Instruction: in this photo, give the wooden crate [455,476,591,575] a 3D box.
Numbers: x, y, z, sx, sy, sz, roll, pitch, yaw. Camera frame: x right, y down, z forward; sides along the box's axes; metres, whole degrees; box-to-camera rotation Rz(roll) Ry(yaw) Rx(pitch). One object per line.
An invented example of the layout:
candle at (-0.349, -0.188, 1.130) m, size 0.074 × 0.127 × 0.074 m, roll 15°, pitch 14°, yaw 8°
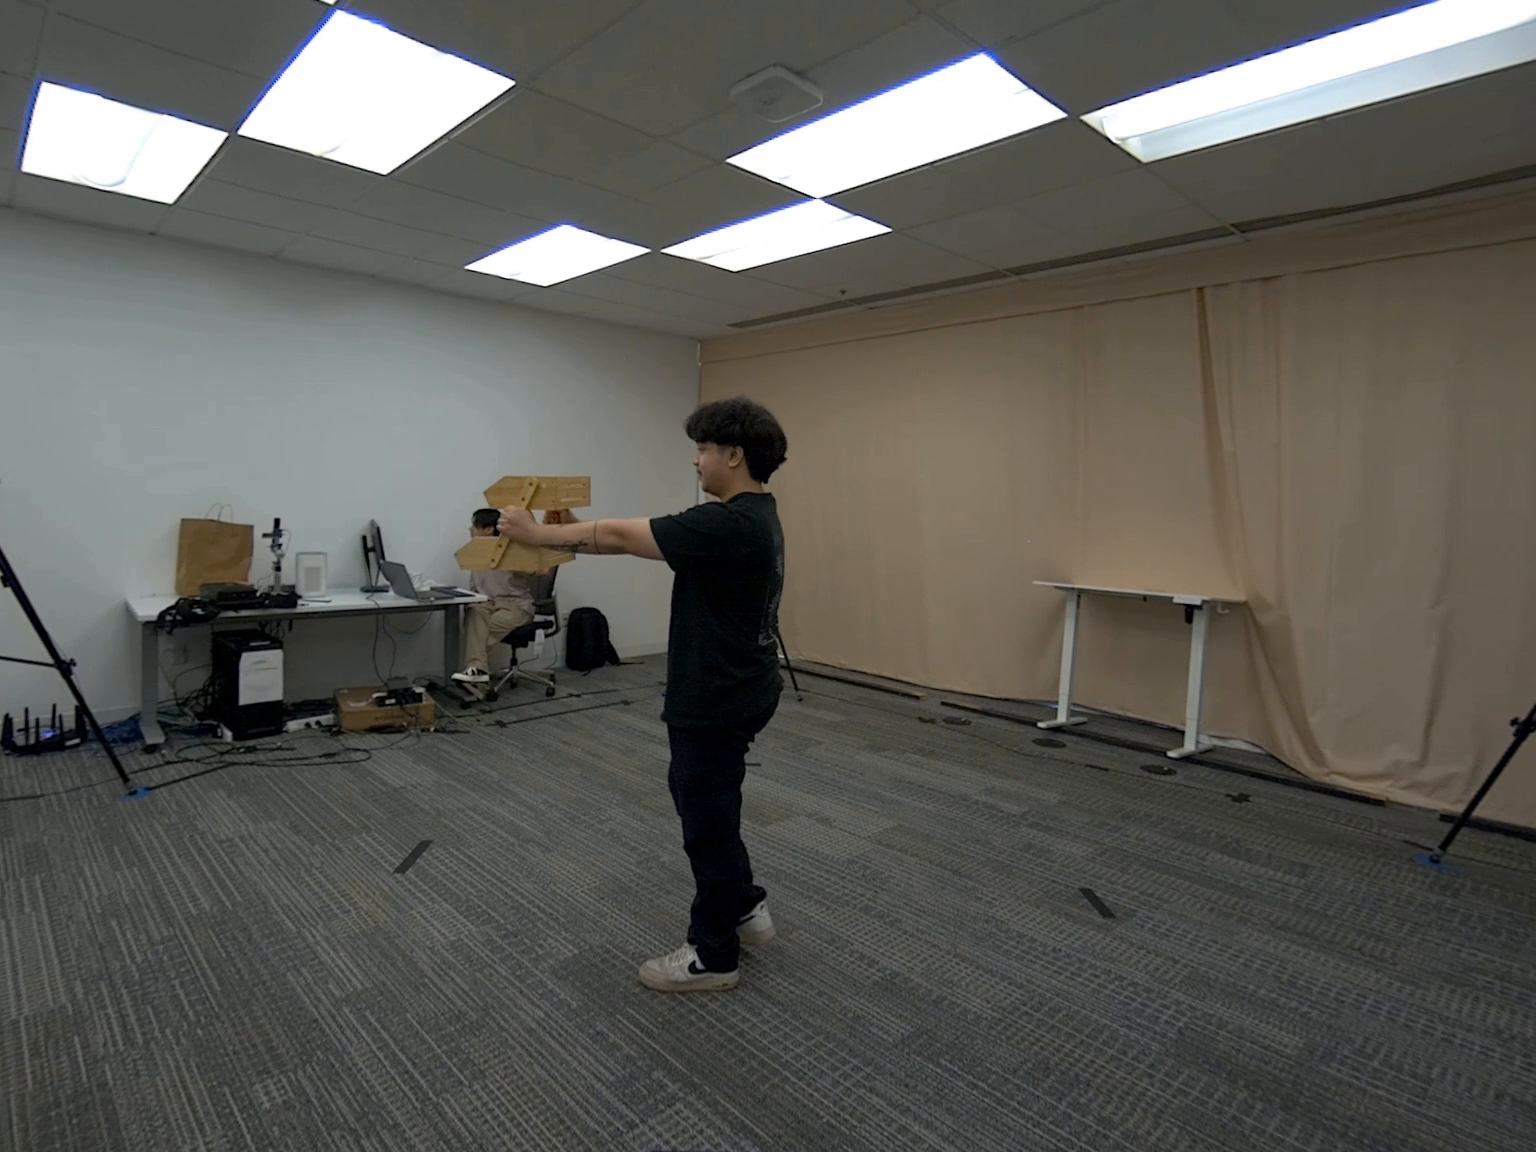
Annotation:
wooden crate at (-0.716, -0.167, 2.472) m, size 0.304 × 0.272 × 0.323 m, roll 2°, pitch 7°, yaw 9°
